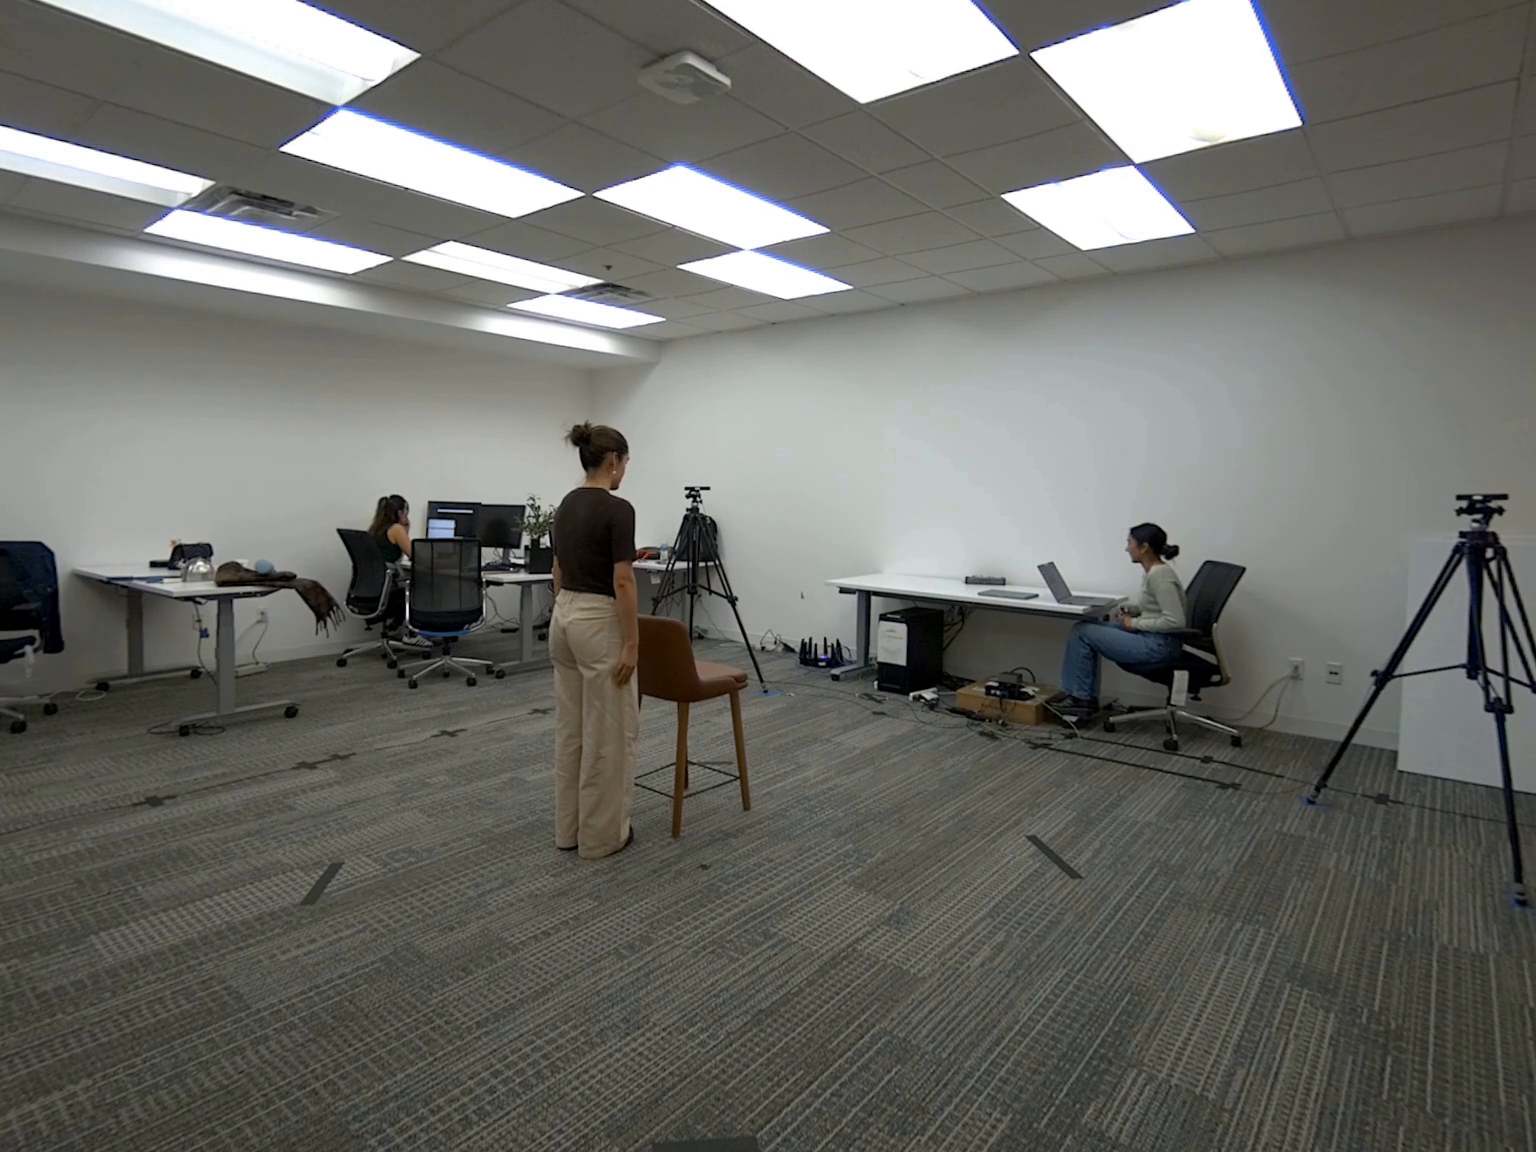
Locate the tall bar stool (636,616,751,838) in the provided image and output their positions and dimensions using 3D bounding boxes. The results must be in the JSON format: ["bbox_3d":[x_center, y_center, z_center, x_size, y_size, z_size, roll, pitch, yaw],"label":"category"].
[{"bbox_3d":[-0.383,0.573,3.629,0.471,0.886,0.454,2,5,40],"label":"tall bar stool"}]
